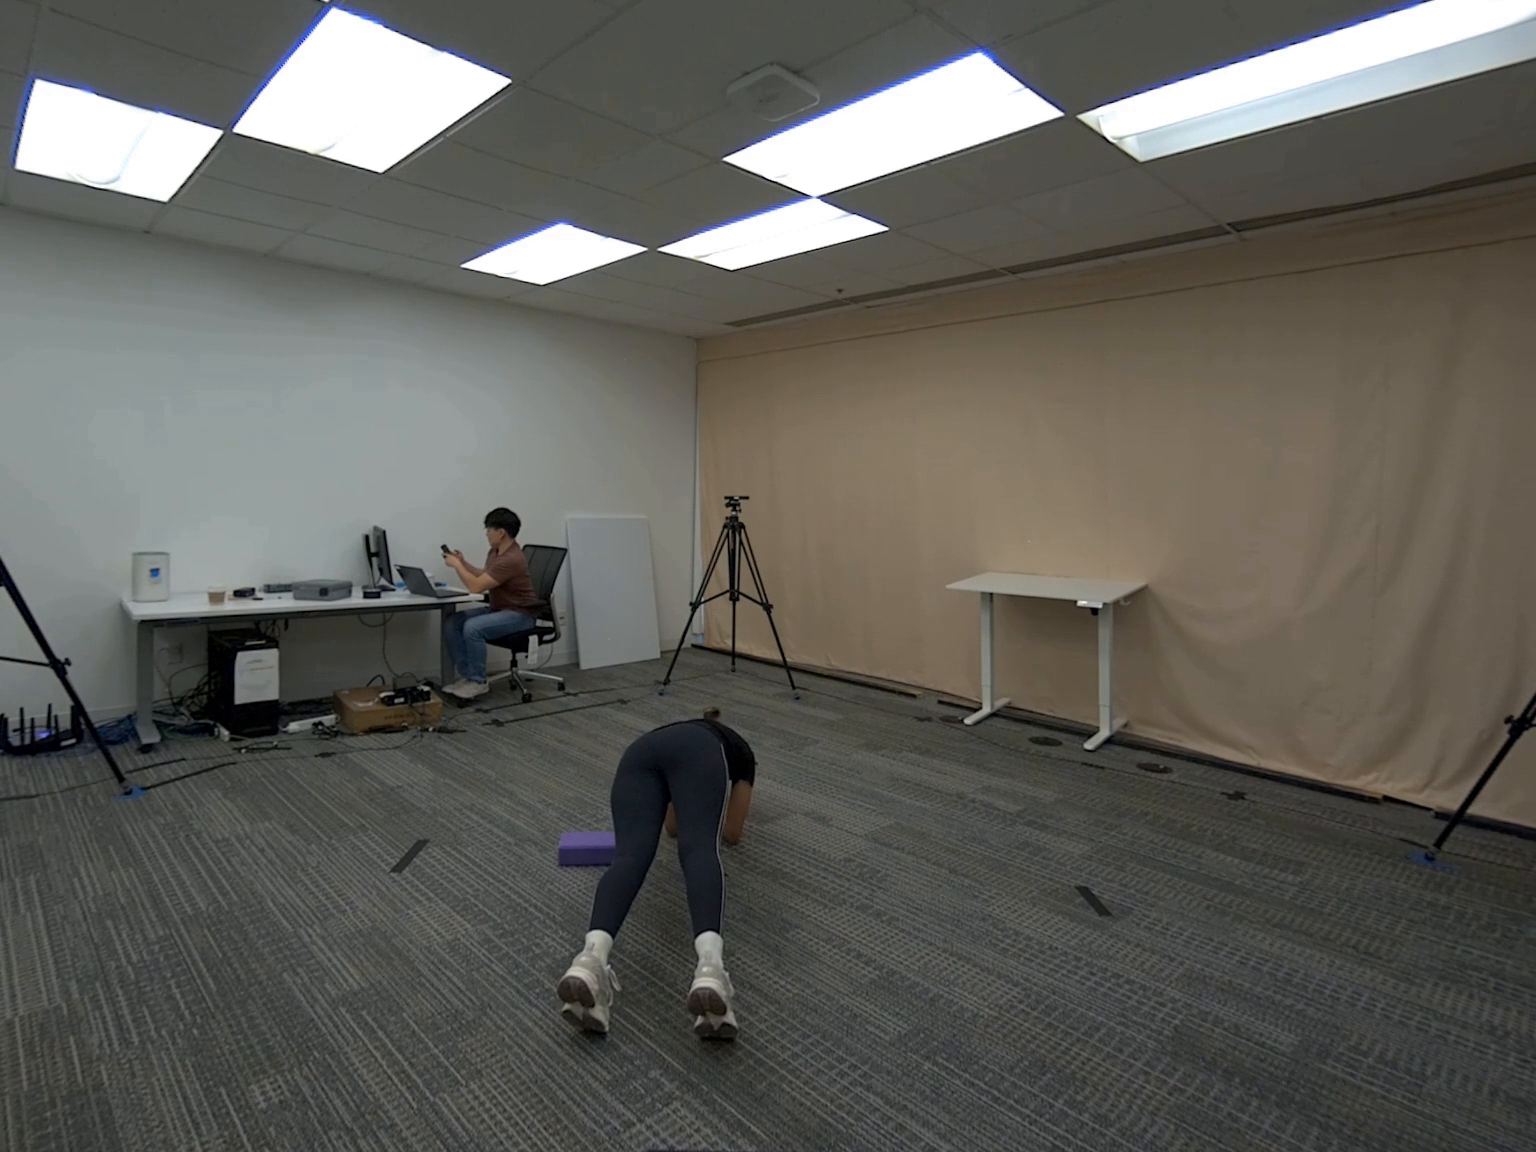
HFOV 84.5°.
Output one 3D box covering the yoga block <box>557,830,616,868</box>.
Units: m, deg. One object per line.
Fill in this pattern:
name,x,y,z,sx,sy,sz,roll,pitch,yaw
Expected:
yoga block,-0.689,1.039,3.217,0.228,0.076,0.150,1,5,-7
